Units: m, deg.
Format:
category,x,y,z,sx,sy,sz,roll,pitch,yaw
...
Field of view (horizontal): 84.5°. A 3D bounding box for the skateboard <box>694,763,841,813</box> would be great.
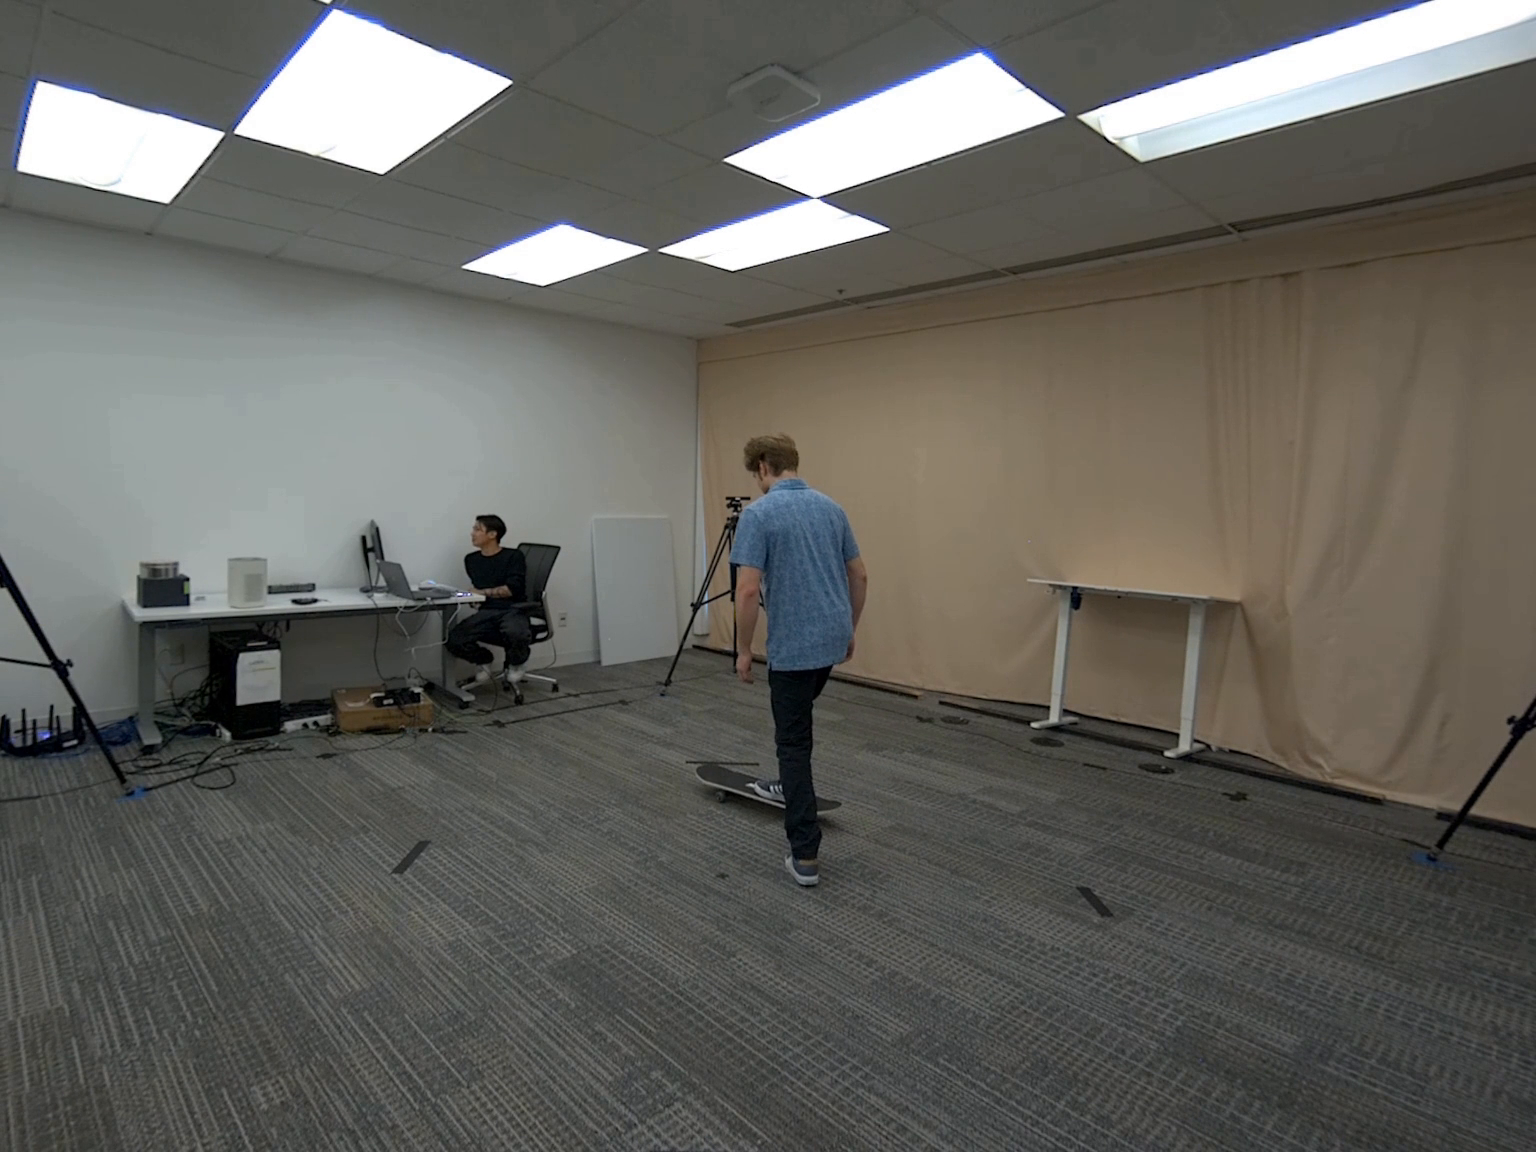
category,x,y,z,sx,sy,sz,roll,pitch,yaw
skateboard,-0.024,0.992,3.796,0.805,0.110,0.189,6,7,39
